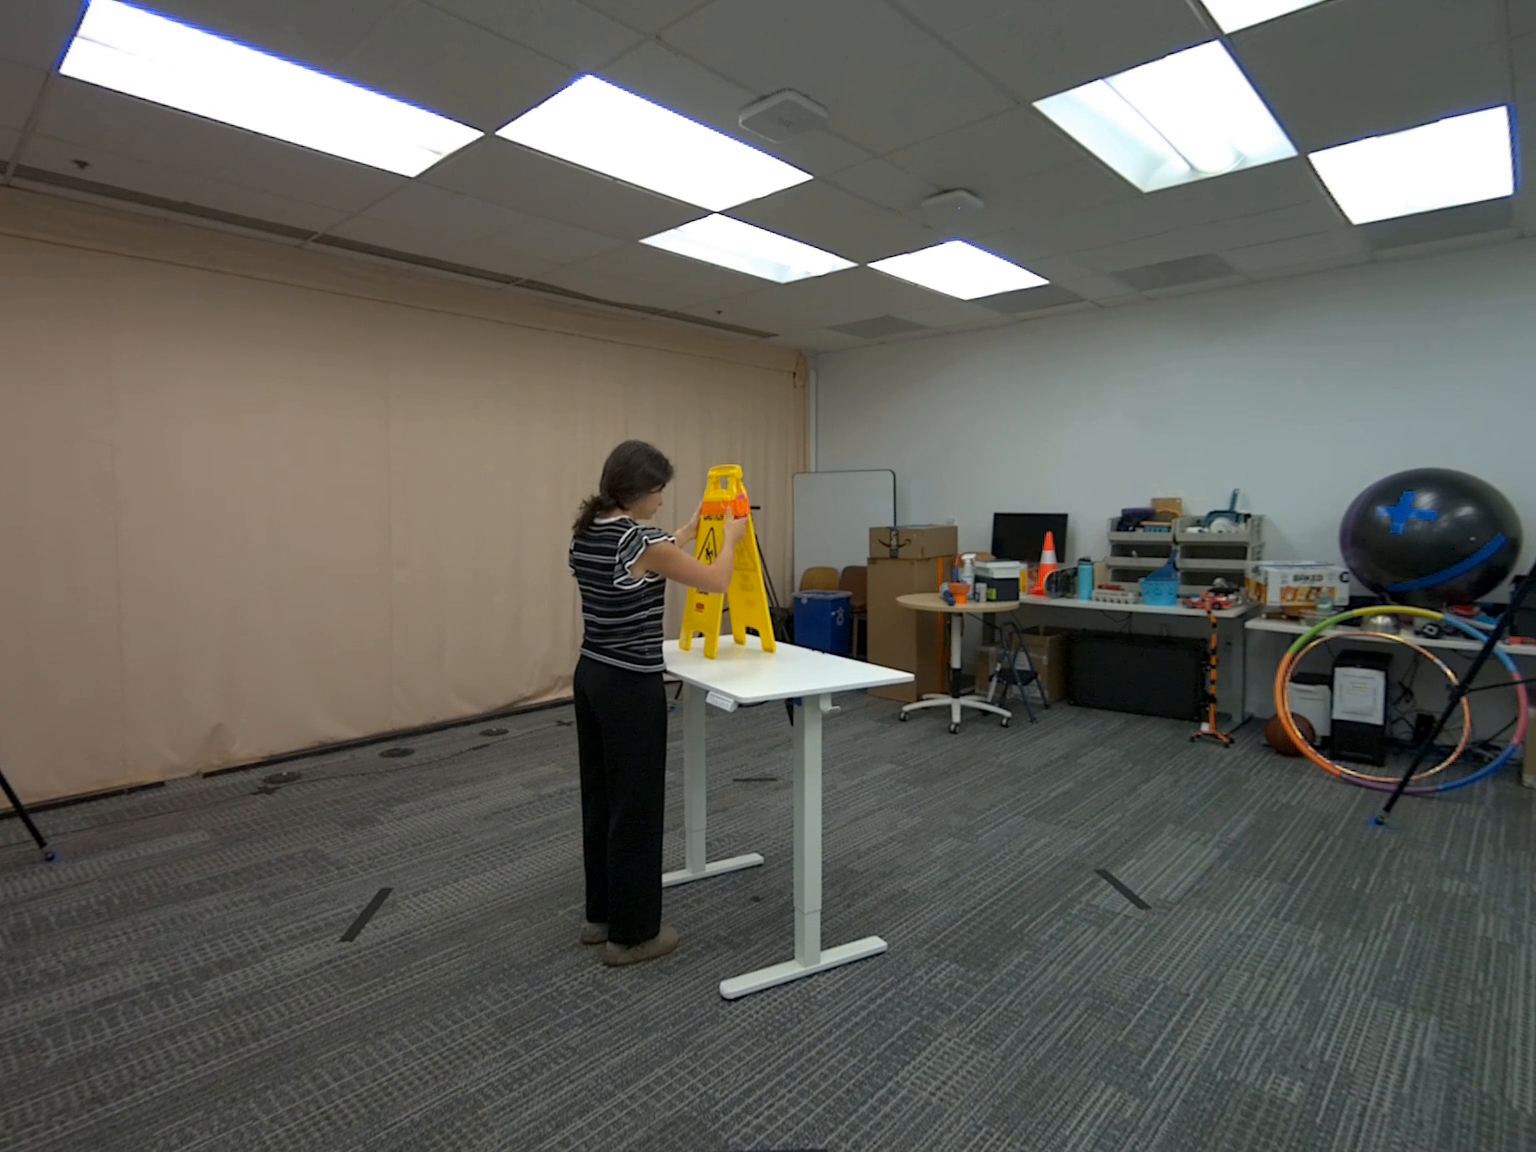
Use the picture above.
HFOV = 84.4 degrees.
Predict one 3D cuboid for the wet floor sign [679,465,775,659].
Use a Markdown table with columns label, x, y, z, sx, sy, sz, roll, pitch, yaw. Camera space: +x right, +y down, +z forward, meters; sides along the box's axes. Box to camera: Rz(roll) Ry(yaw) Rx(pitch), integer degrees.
| label | x | y | z | sx | sy | sz | roll | pitch | yaw |
| --- | --- | --- | --- | --- | --- | --- | --- | --- | --- |
| wet floor sign | -0.147 | -0.060 | 2.968 | 0.282 | 0.645 | 0.290 | -1 | 3 | -30 |
